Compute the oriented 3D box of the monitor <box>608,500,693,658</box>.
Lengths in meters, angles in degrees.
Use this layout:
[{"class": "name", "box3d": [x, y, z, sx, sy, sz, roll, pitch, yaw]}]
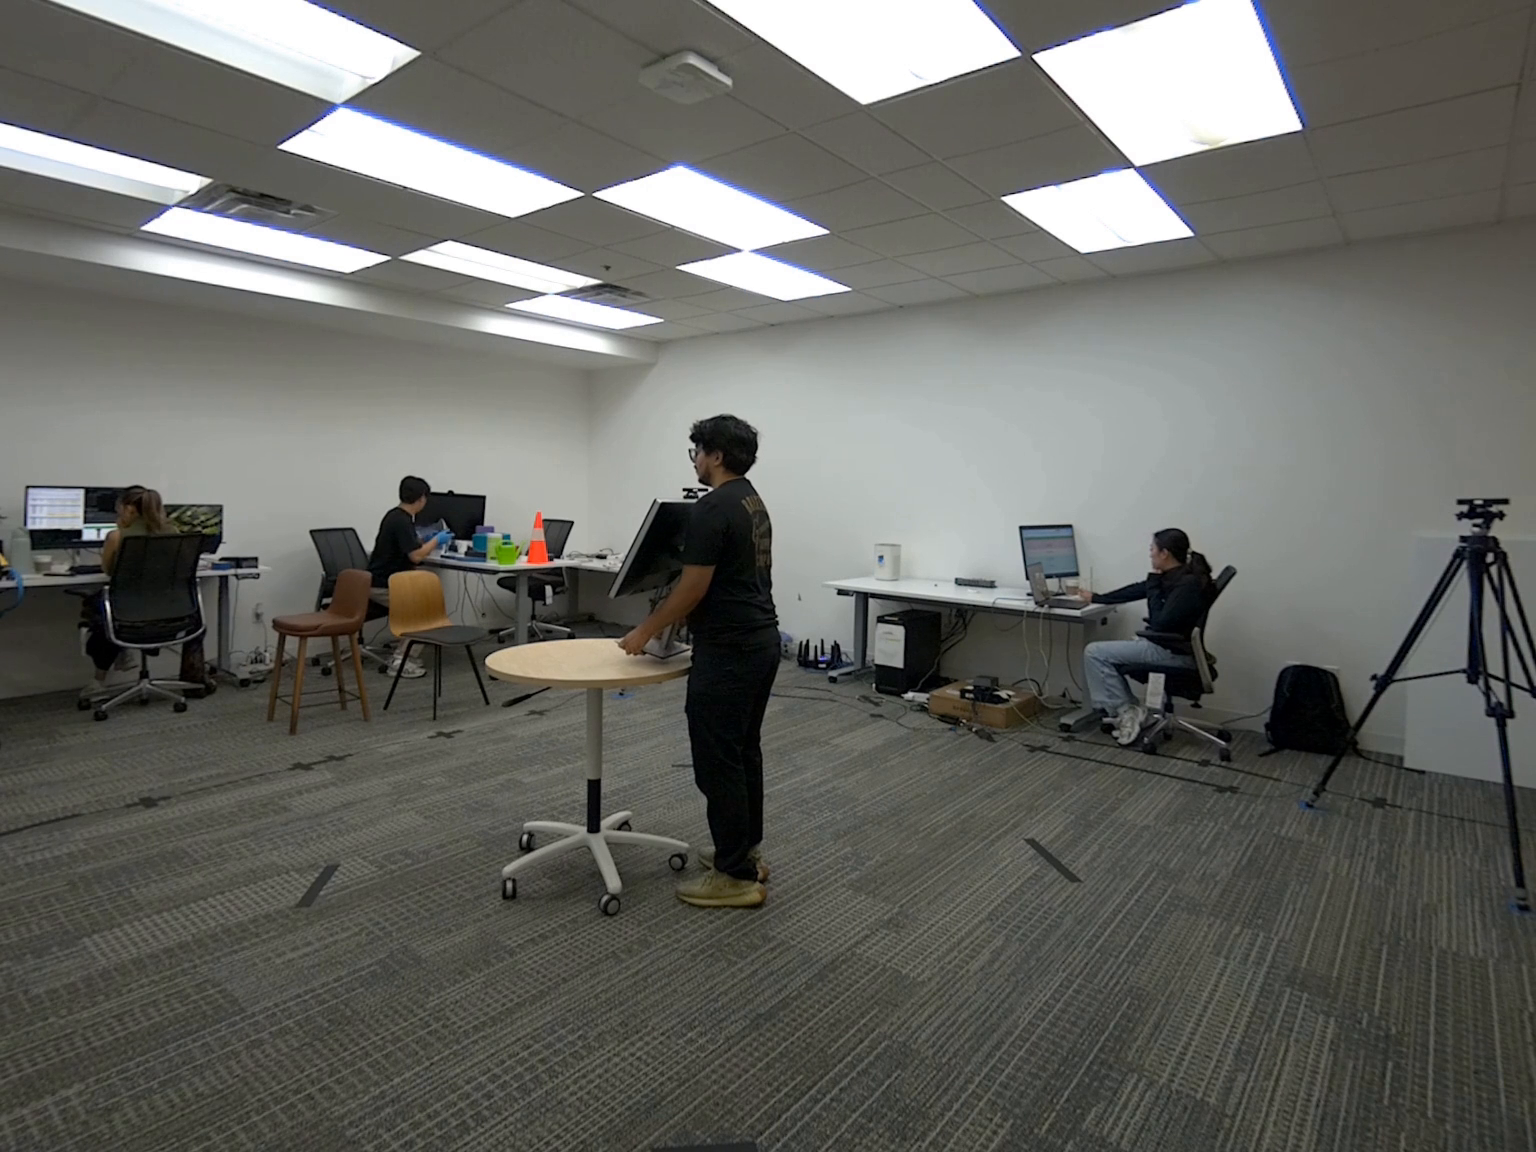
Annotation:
[{"class": "monitor", "box3d": [-0.345, 0.000, 3.019, 0.214, 0.551, 0.556, 23, 9, 13]}]
